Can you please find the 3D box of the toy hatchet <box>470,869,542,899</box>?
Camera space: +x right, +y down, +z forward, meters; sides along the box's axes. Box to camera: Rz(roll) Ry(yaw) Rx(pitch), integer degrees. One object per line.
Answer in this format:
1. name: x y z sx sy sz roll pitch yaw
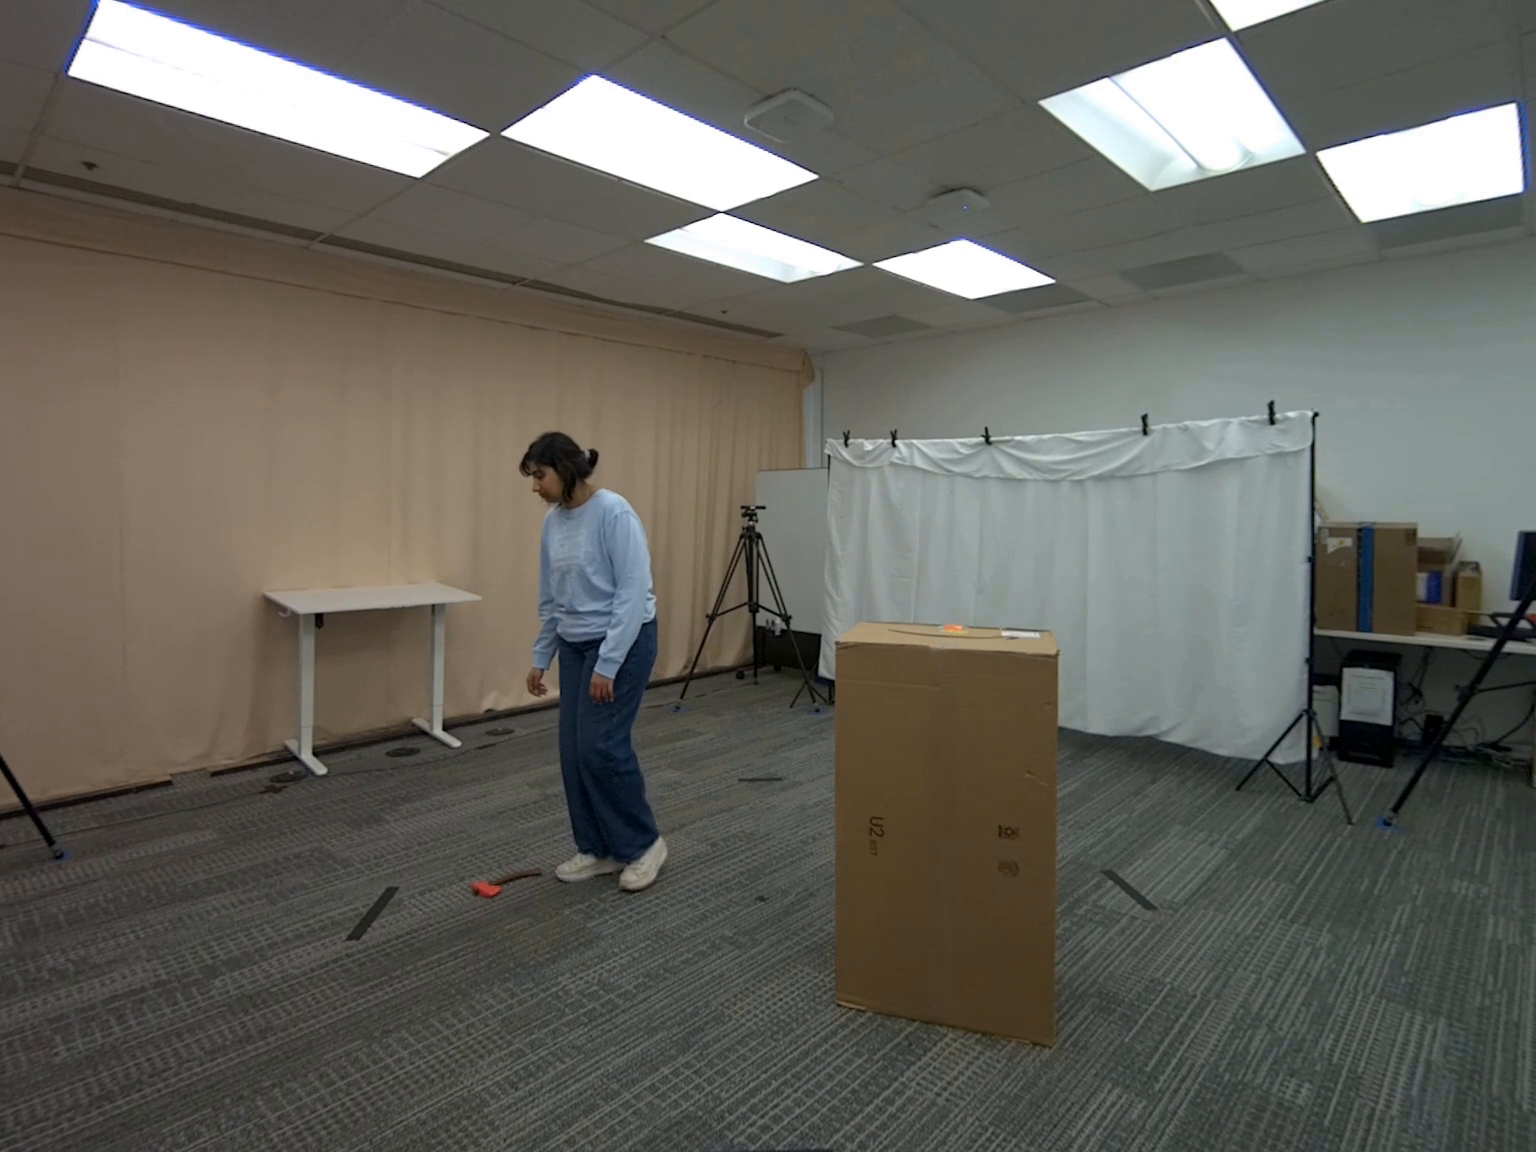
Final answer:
1. toy hatchet: -0.956 1.139 3.099 0.263 0.029 0.135 -2 3 -31
